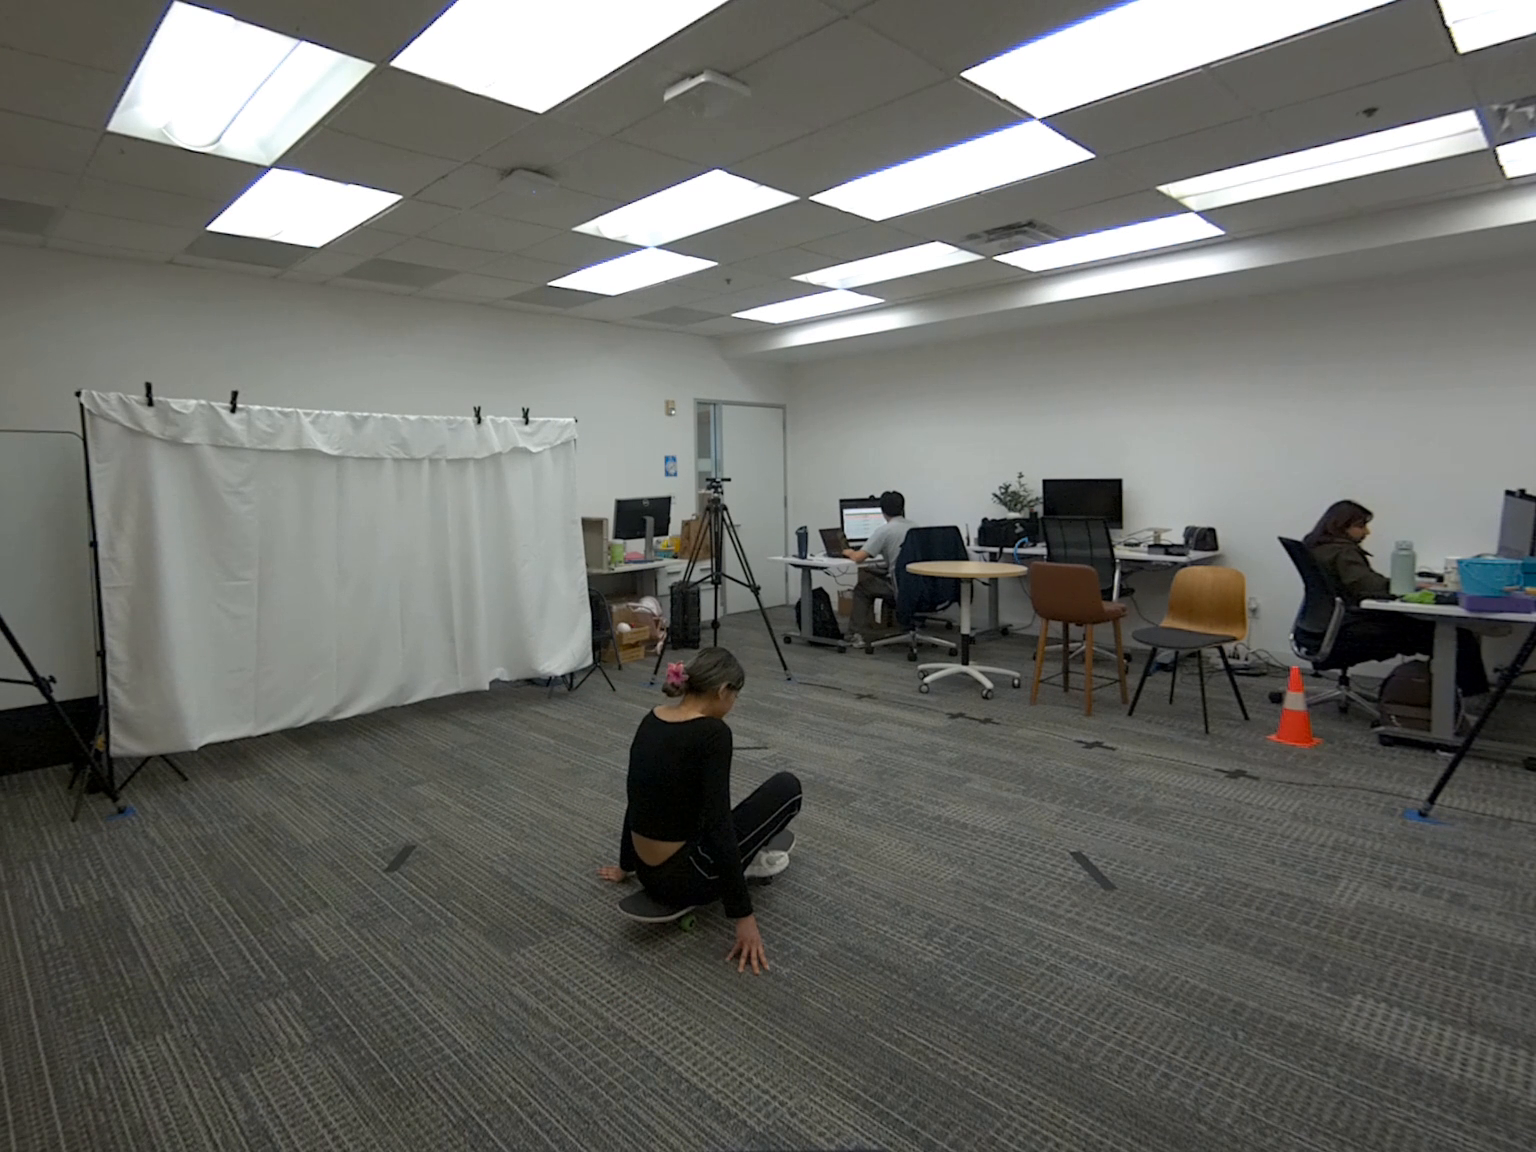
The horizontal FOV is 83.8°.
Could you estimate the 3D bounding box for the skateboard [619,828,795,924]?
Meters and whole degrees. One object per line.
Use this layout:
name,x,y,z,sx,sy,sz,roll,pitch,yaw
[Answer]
skateboard,-0.183,1.017,2.859,0.199,0.110,0.767,4,10,38
